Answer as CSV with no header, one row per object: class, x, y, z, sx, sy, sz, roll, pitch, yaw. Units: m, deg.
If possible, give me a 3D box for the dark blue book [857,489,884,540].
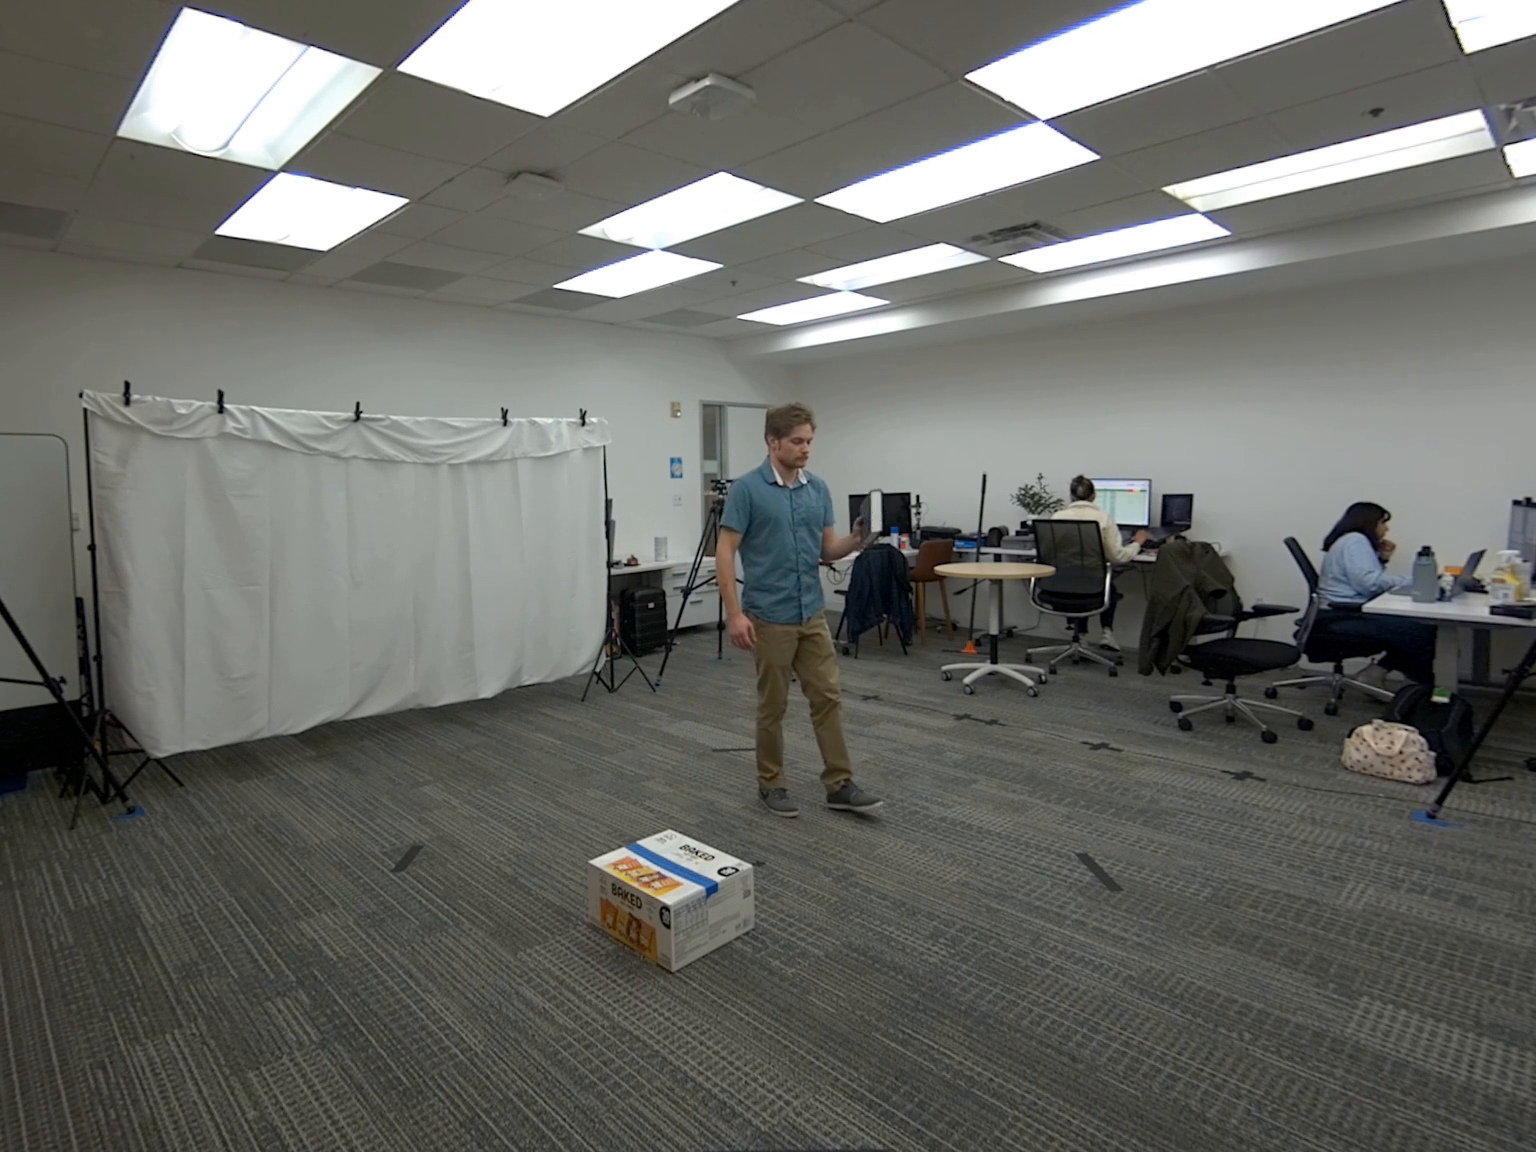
dark blue book,0.397,-0.221,3.280,0.045,0.165,0.243,0,-9,-4
